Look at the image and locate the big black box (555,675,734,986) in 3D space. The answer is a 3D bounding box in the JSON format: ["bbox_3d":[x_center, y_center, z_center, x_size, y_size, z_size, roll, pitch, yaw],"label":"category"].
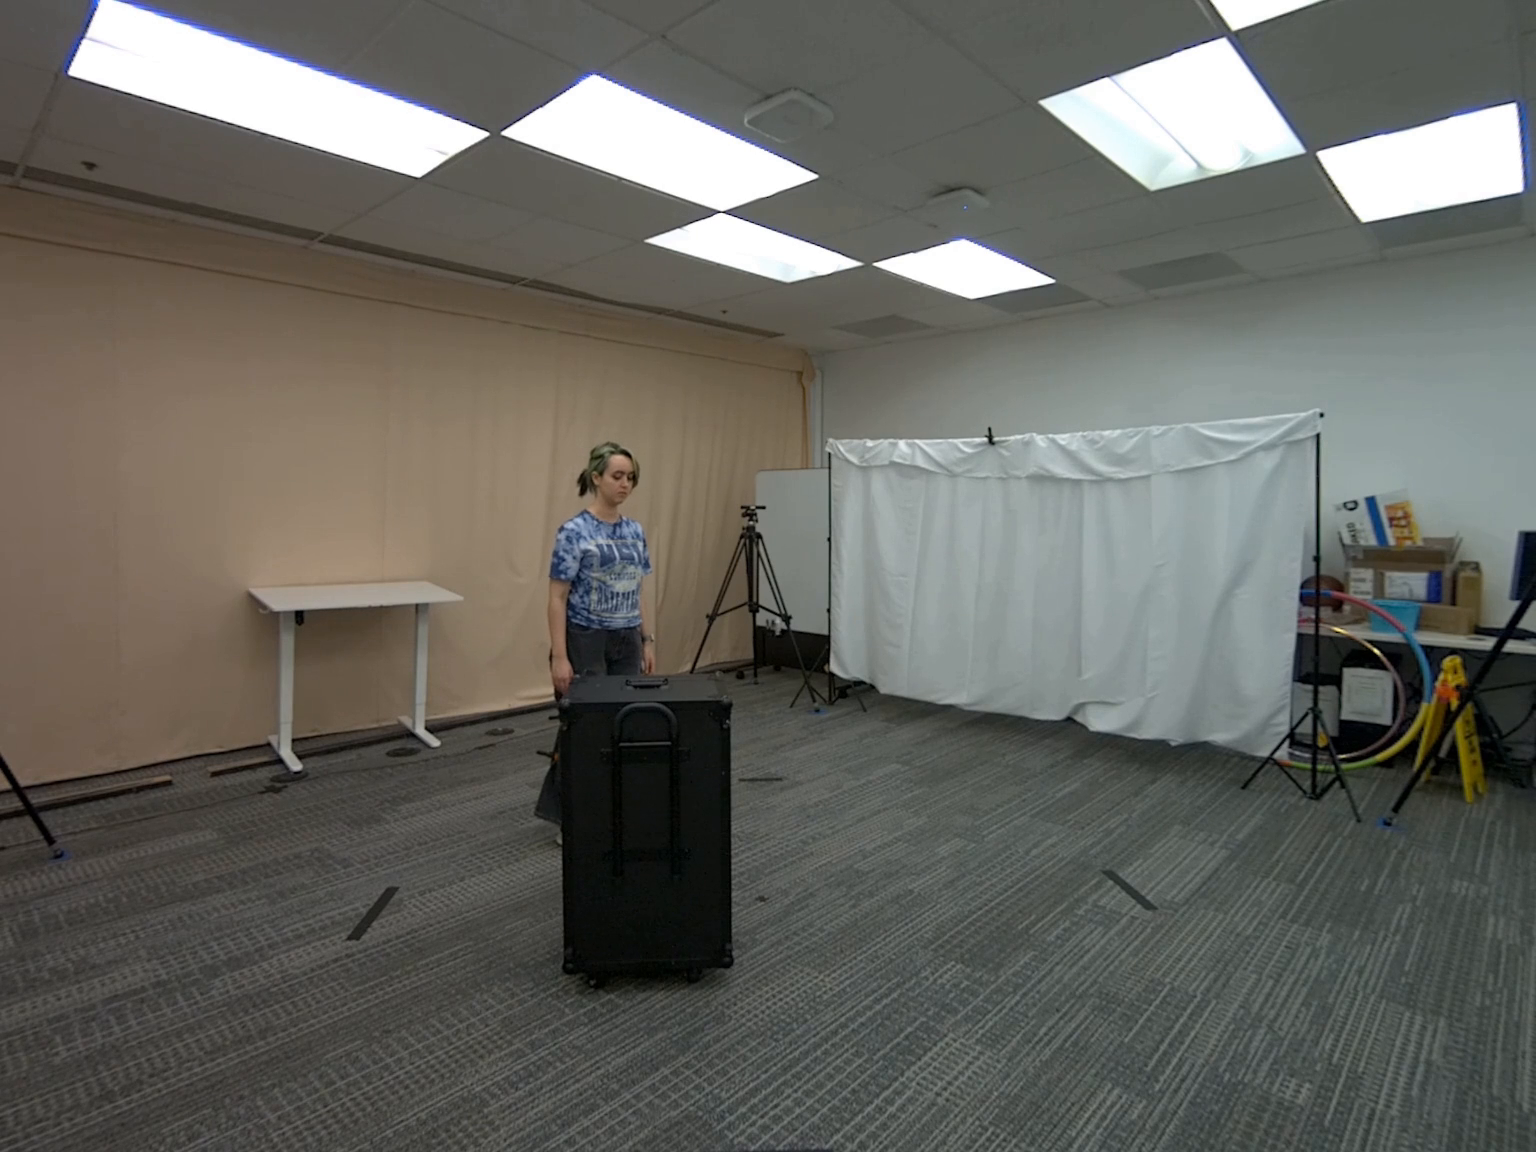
[{"bbox_3d":[-0.355,0.759,2.537,0.518,0.859,0.400,0,4,-6],"label":"big black box"}]
